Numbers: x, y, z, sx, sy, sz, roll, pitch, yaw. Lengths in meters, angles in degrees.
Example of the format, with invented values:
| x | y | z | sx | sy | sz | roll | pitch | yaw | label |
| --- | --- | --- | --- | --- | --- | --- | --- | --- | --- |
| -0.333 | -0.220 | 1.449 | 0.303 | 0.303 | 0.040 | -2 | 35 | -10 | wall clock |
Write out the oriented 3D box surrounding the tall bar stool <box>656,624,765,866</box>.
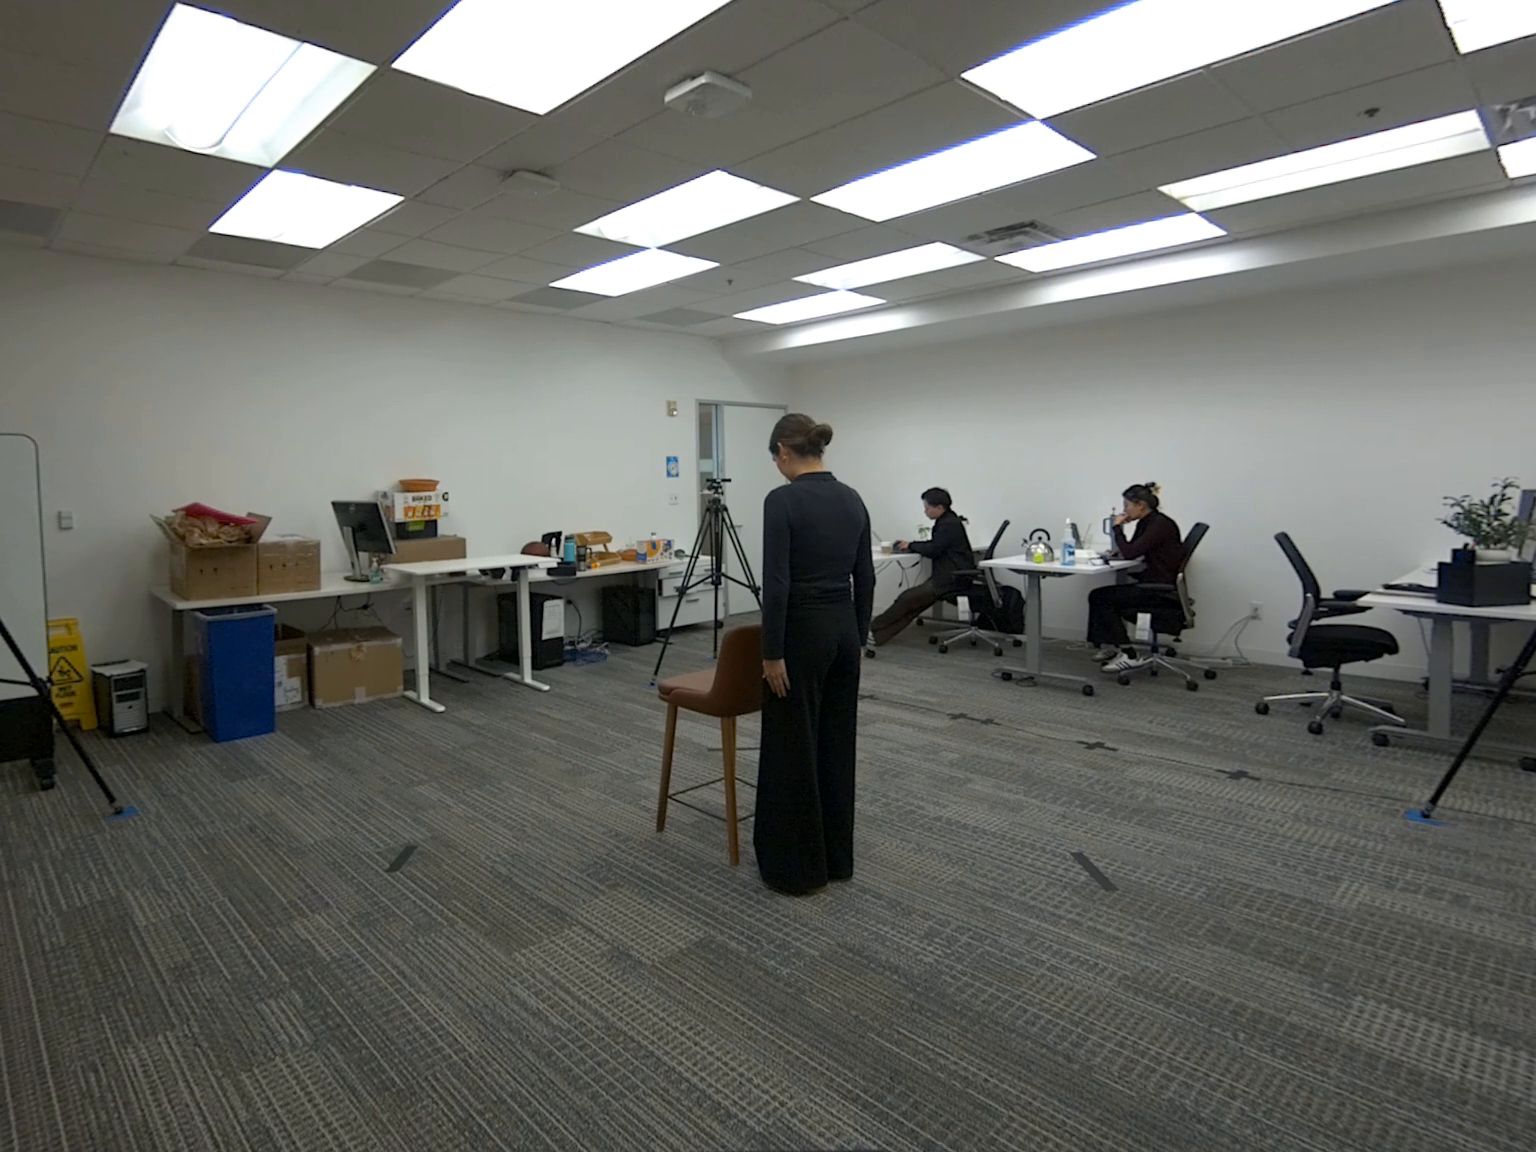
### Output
| x | y | z | sx | sy | sz | roll | pitch | yaw | label |
| --- | --- | --- | --- | --- | --- | --- | --- | --- | --- |
| -0.145 | 0.581 | 3.336 | 0.444 | 0.885 | 0.482 | -5 | 8 | -43 | tall bar stool |
